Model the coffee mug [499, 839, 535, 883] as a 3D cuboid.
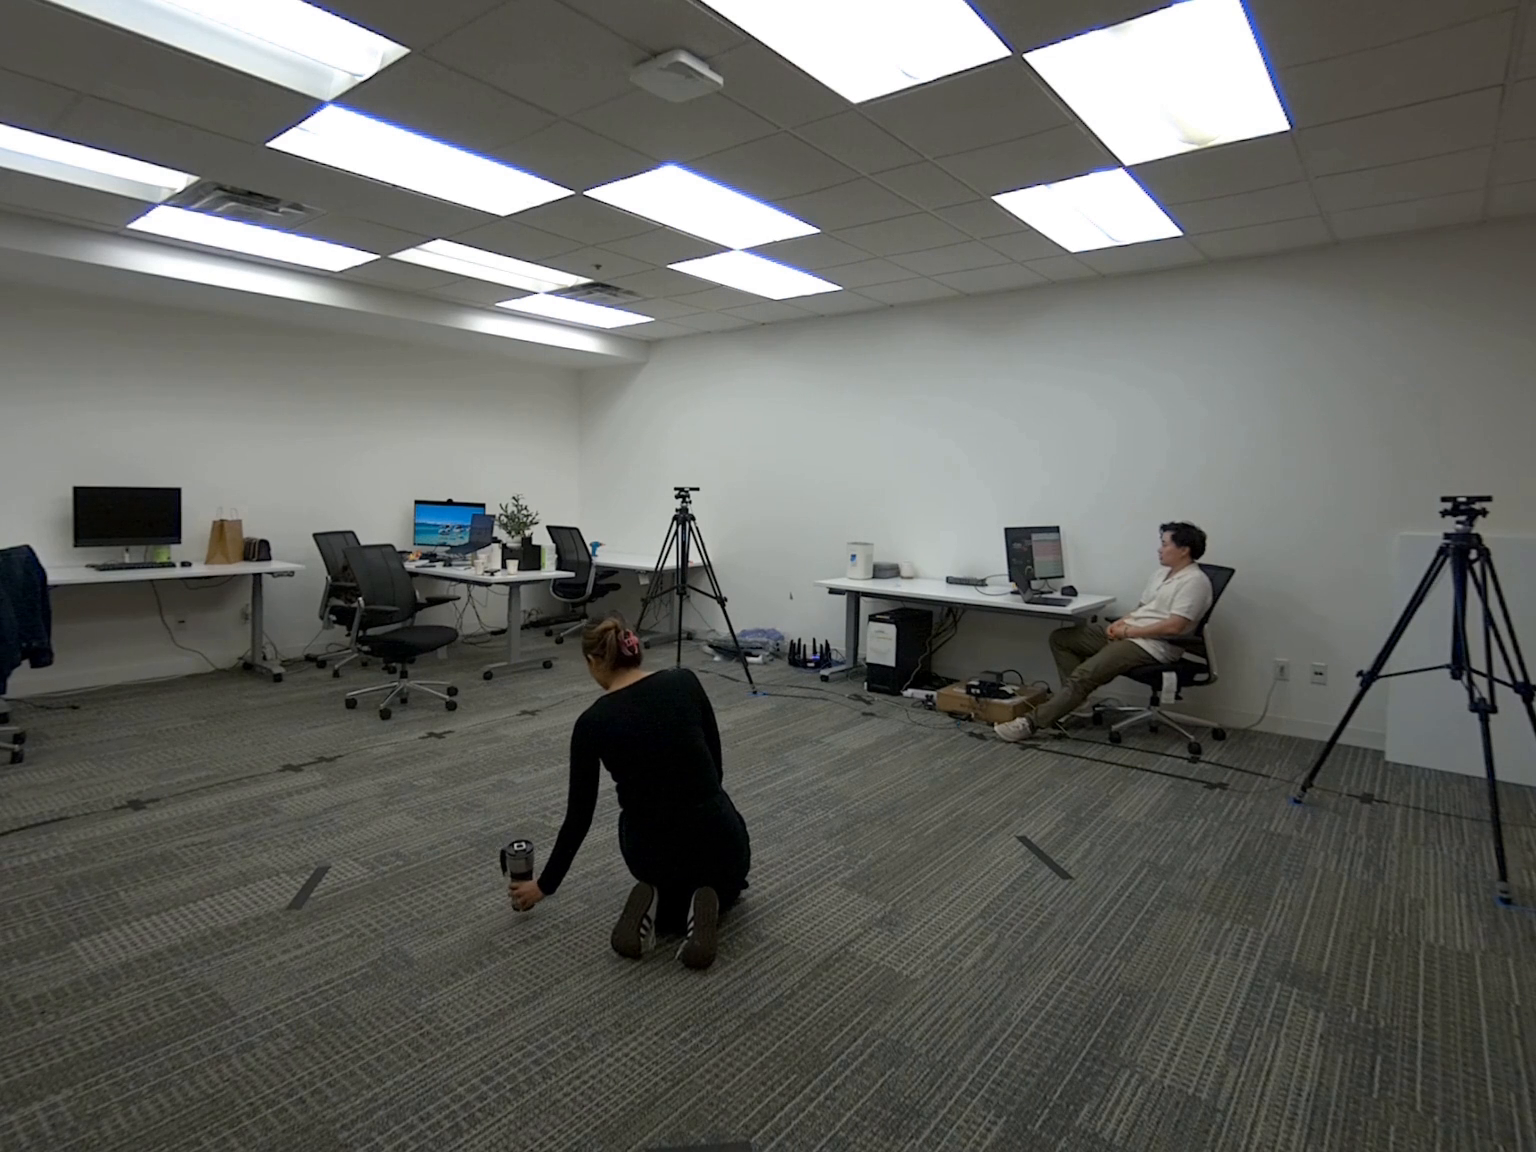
[{"bbox_3d":[-0.820,0.961,2.746,0.085,0.200,0.126,-9,16,-37],"label":"coffee mug"}]
